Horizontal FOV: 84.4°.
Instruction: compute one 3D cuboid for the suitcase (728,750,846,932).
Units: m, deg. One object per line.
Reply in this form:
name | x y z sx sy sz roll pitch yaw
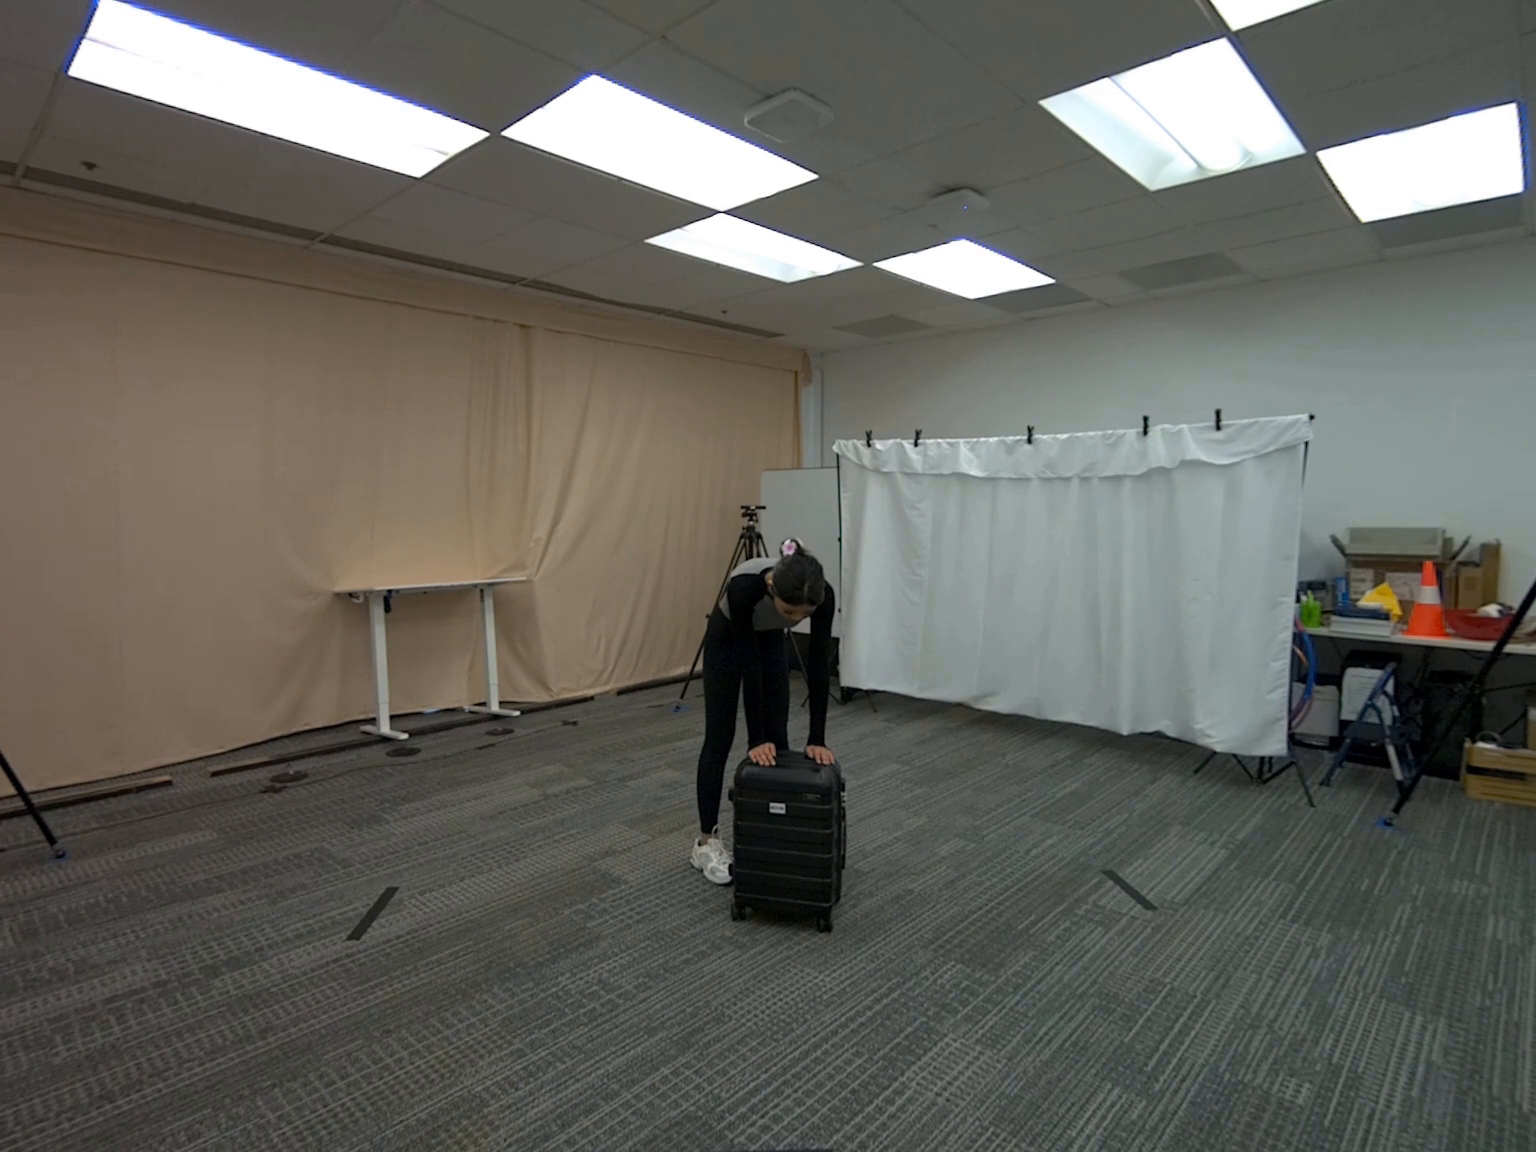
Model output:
suitcase | 0.075 0.879 2.866 0.382 0.548 0.245 1 5 15
